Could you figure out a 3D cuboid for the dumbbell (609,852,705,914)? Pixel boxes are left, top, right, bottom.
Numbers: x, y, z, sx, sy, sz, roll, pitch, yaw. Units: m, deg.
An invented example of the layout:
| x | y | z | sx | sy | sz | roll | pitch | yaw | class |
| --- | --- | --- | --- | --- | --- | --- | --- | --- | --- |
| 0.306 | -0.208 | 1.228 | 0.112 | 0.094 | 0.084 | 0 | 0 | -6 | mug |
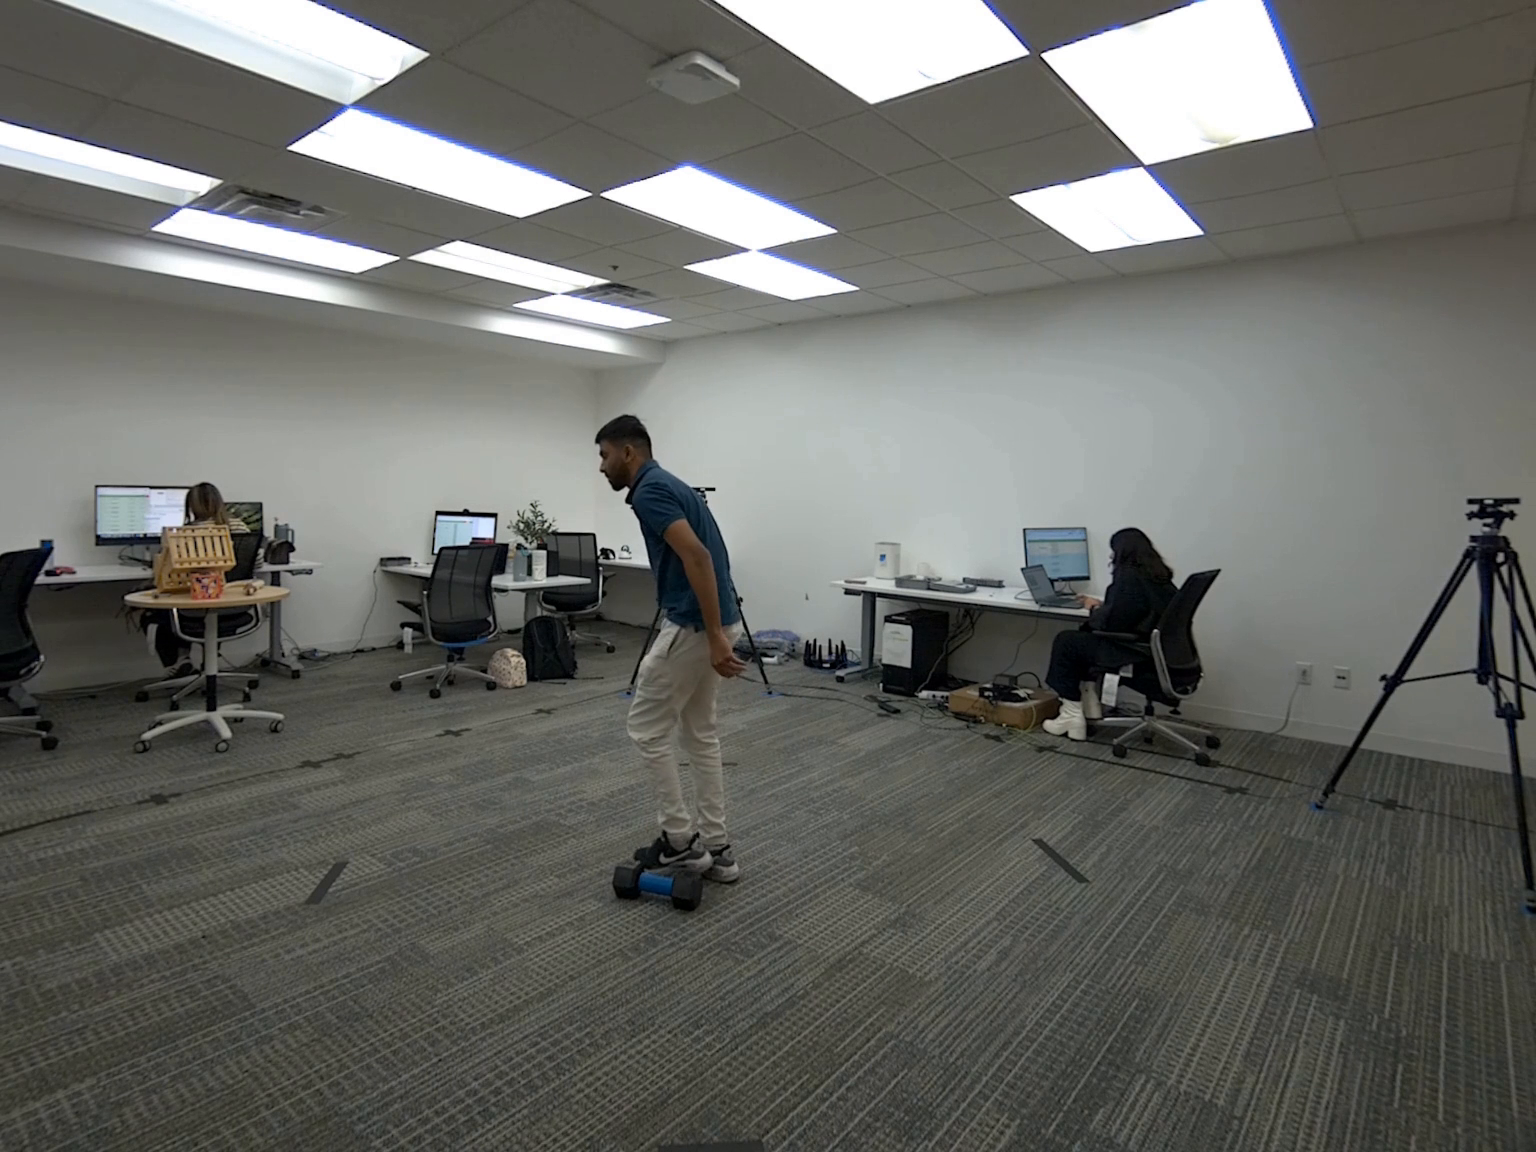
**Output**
| x | y | z | sx | sy | sz | roll | pitch | yaw | class |
| --- | --- | --- | --- | --- | --- | --- | --- | --- | --- |
| -0.373 | 1.033 | 2.841 | 0.300 | 0.109 | 0.120 | 4 | -1 | 19 | dumbbell |
